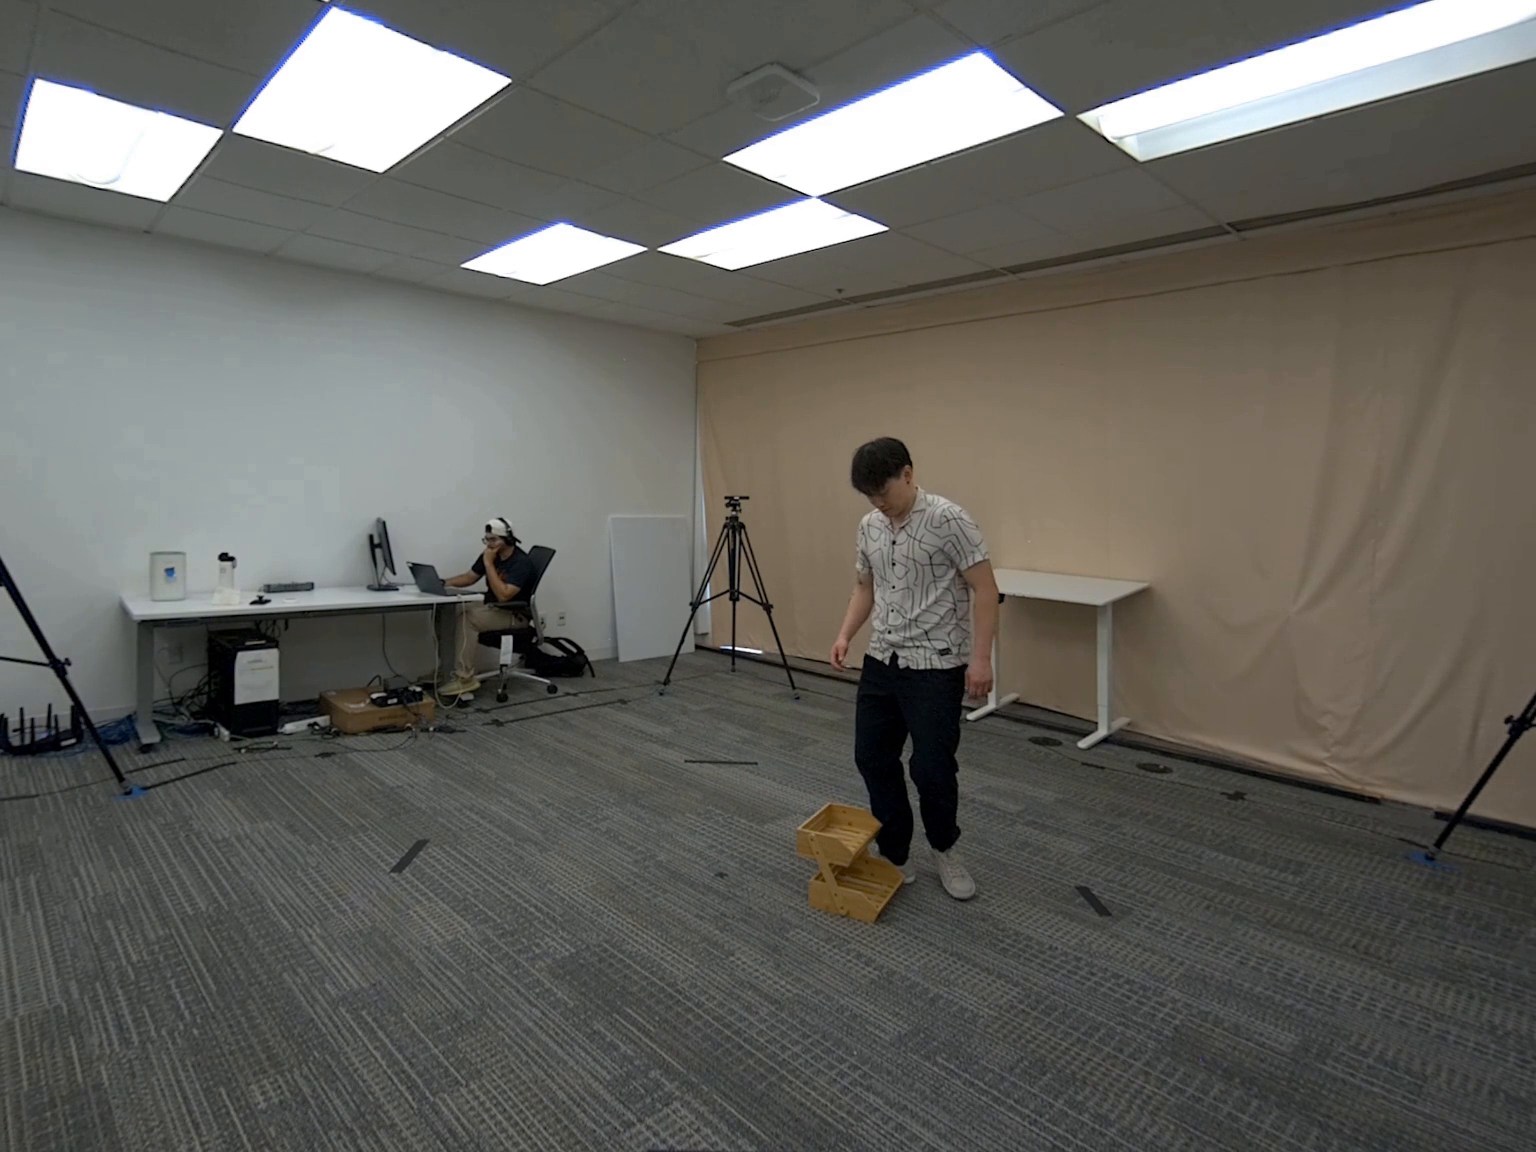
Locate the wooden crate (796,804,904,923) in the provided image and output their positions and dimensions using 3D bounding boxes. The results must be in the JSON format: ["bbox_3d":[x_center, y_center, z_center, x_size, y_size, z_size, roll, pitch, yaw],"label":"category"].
[{"bbox_3d":[0.294,0.993,2.953,0.308,0.272,0.319,2,4,27],"label":"wooden crate"}]
